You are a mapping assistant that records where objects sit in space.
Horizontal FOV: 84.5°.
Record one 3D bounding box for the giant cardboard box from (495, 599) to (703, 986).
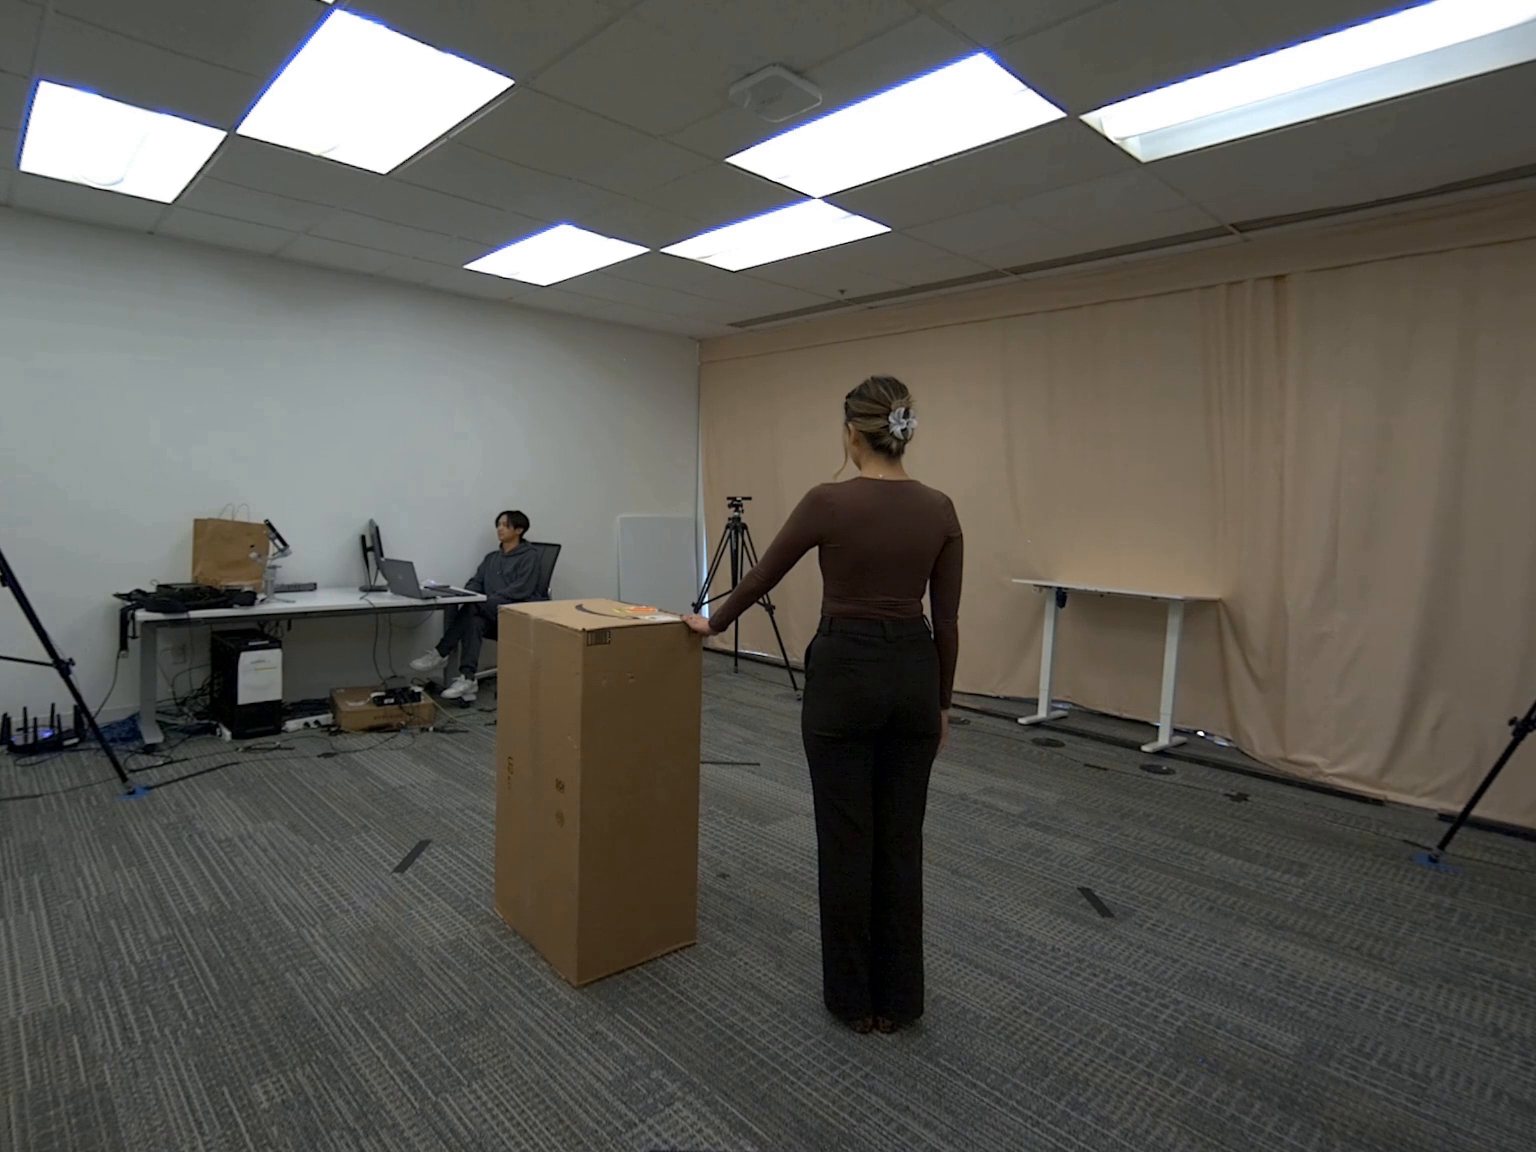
[{"bbox_3d":[-0.561,0.626,2.696,0.436,1.025,0.598,0,3,-38],"label":"giant cardboard box"}]
